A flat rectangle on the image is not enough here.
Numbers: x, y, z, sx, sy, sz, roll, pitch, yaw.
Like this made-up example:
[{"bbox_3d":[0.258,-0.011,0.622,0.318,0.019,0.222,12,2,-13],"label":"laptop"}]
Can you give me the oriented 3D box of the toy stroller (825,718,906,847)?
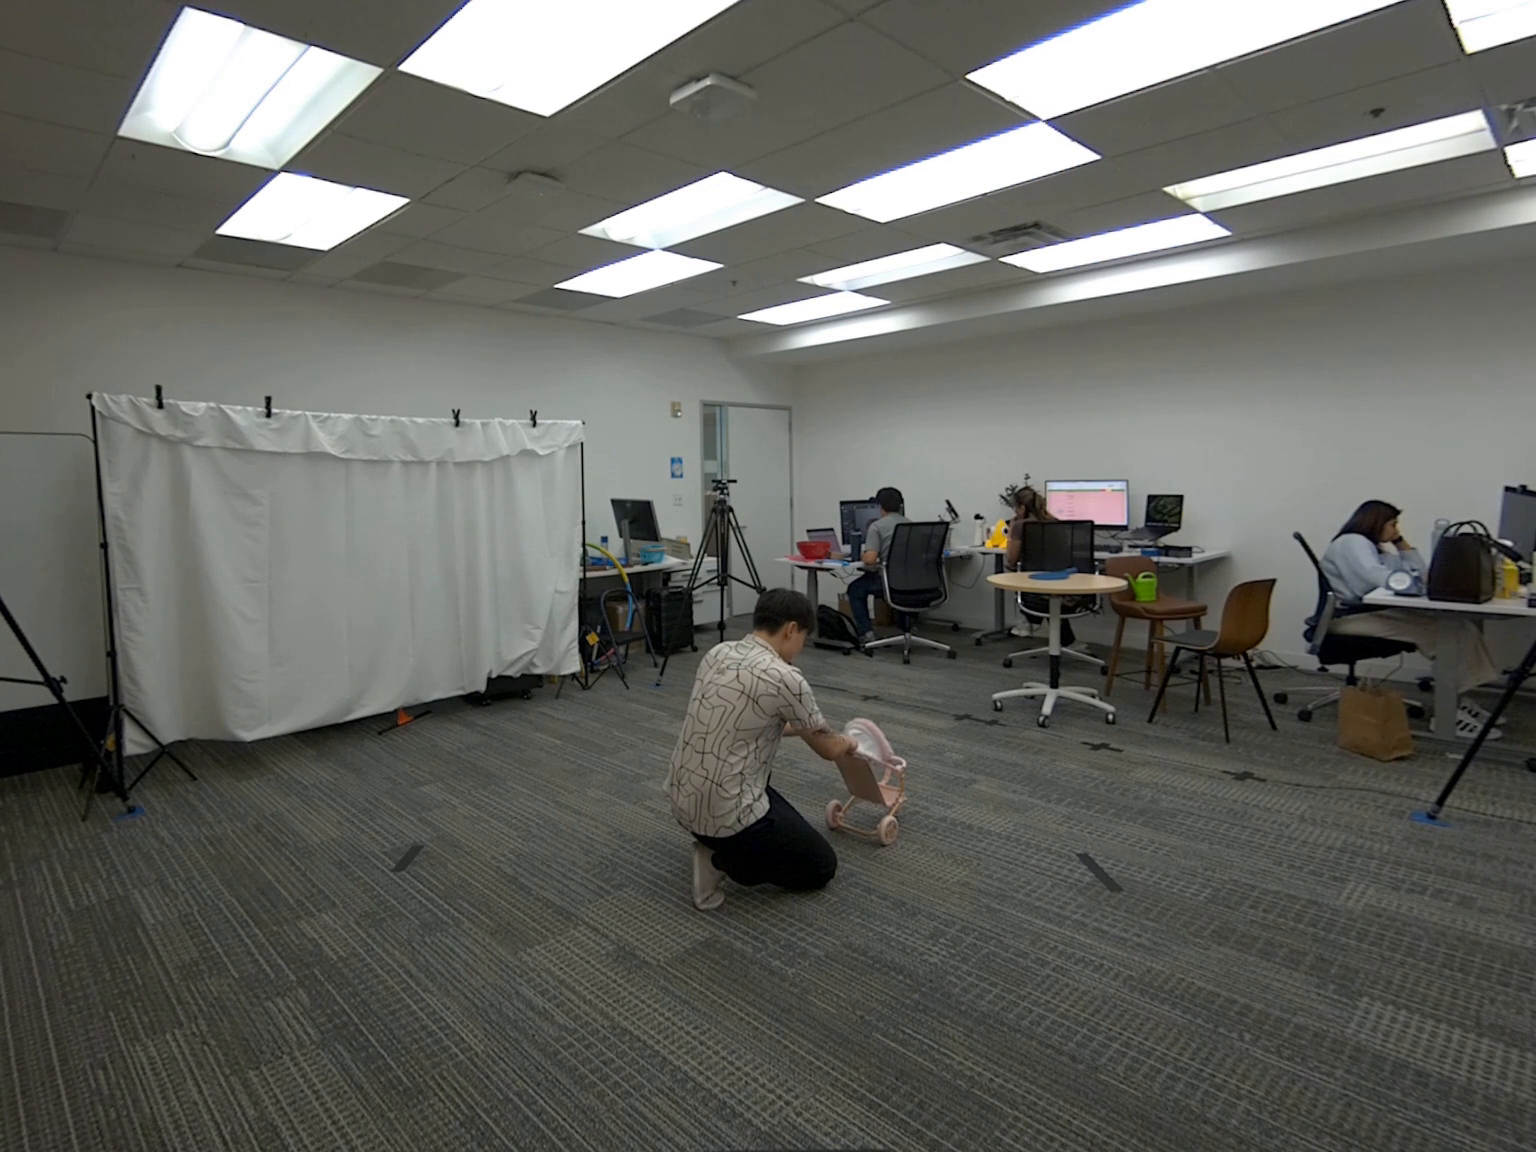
[{"bbox_3d":[0.396,0.786,3.364,0.290,0.525,0.337,5,25,45],"label":"toy stroller"}]
